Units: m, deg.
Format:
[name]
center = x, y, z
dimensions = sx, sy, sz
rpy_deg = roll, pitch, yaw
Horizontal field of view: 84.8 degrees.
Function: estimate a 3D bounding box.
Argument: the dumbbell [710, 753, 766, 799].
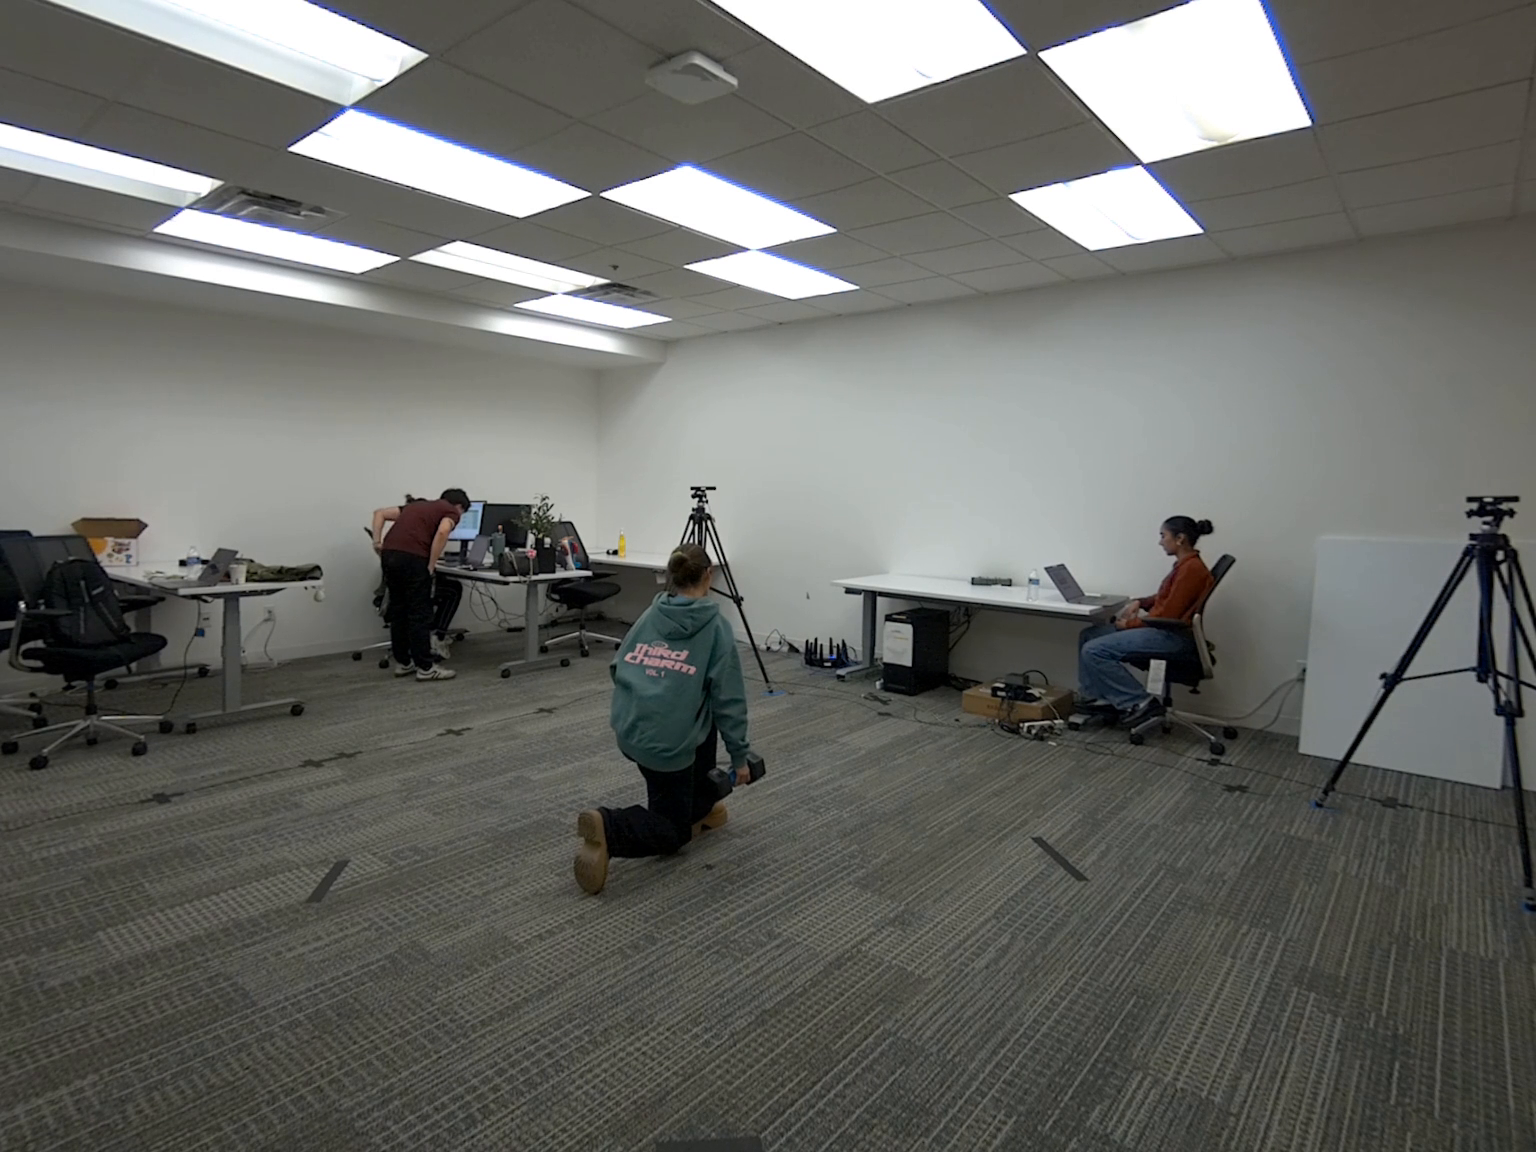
[dumbbell]
center = -0.150, 0.769, 3.293
dimensions = 0.286, 0.111, 0.123
rpy_deg = -12, -26, -51
